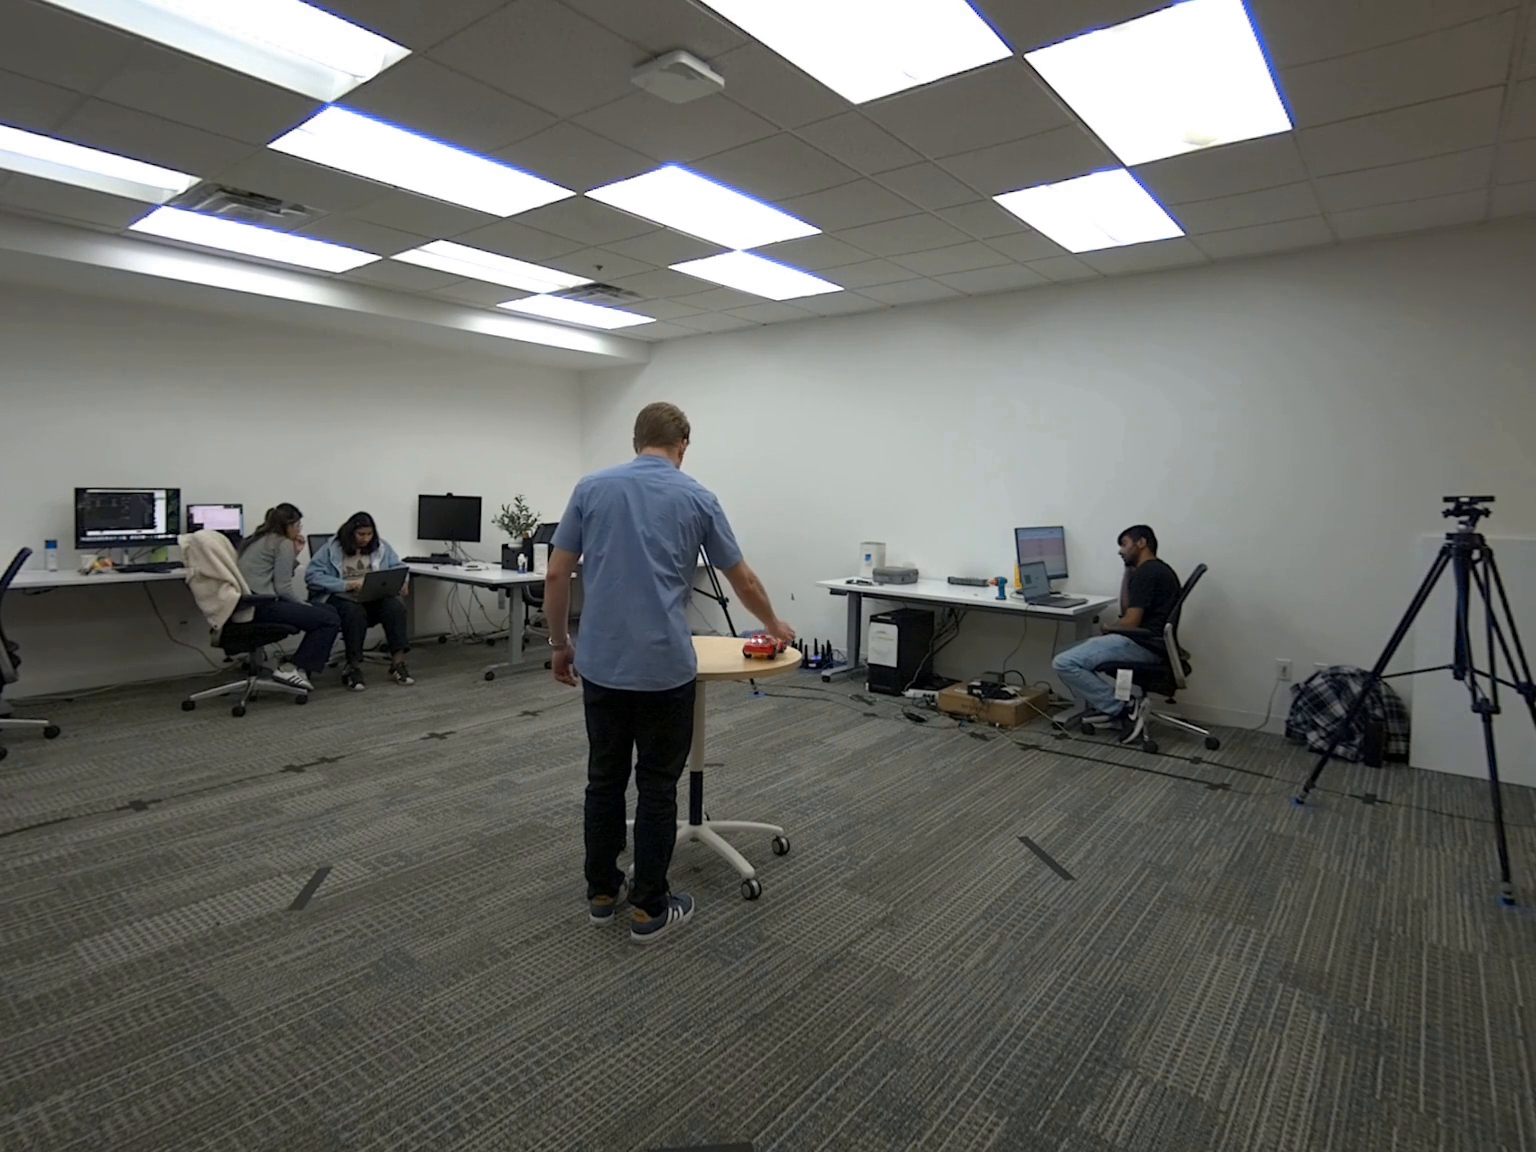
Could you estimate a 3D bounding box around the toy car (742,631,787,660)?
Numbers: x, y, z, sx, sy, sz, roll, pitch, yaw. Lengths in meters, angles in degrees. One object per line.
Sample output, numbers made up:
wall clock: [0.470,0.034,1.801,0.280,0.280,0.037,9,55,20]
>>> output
toy car: [-0.029,0.258,3.095,0.133,0.084,0.248,2,-7,15]
